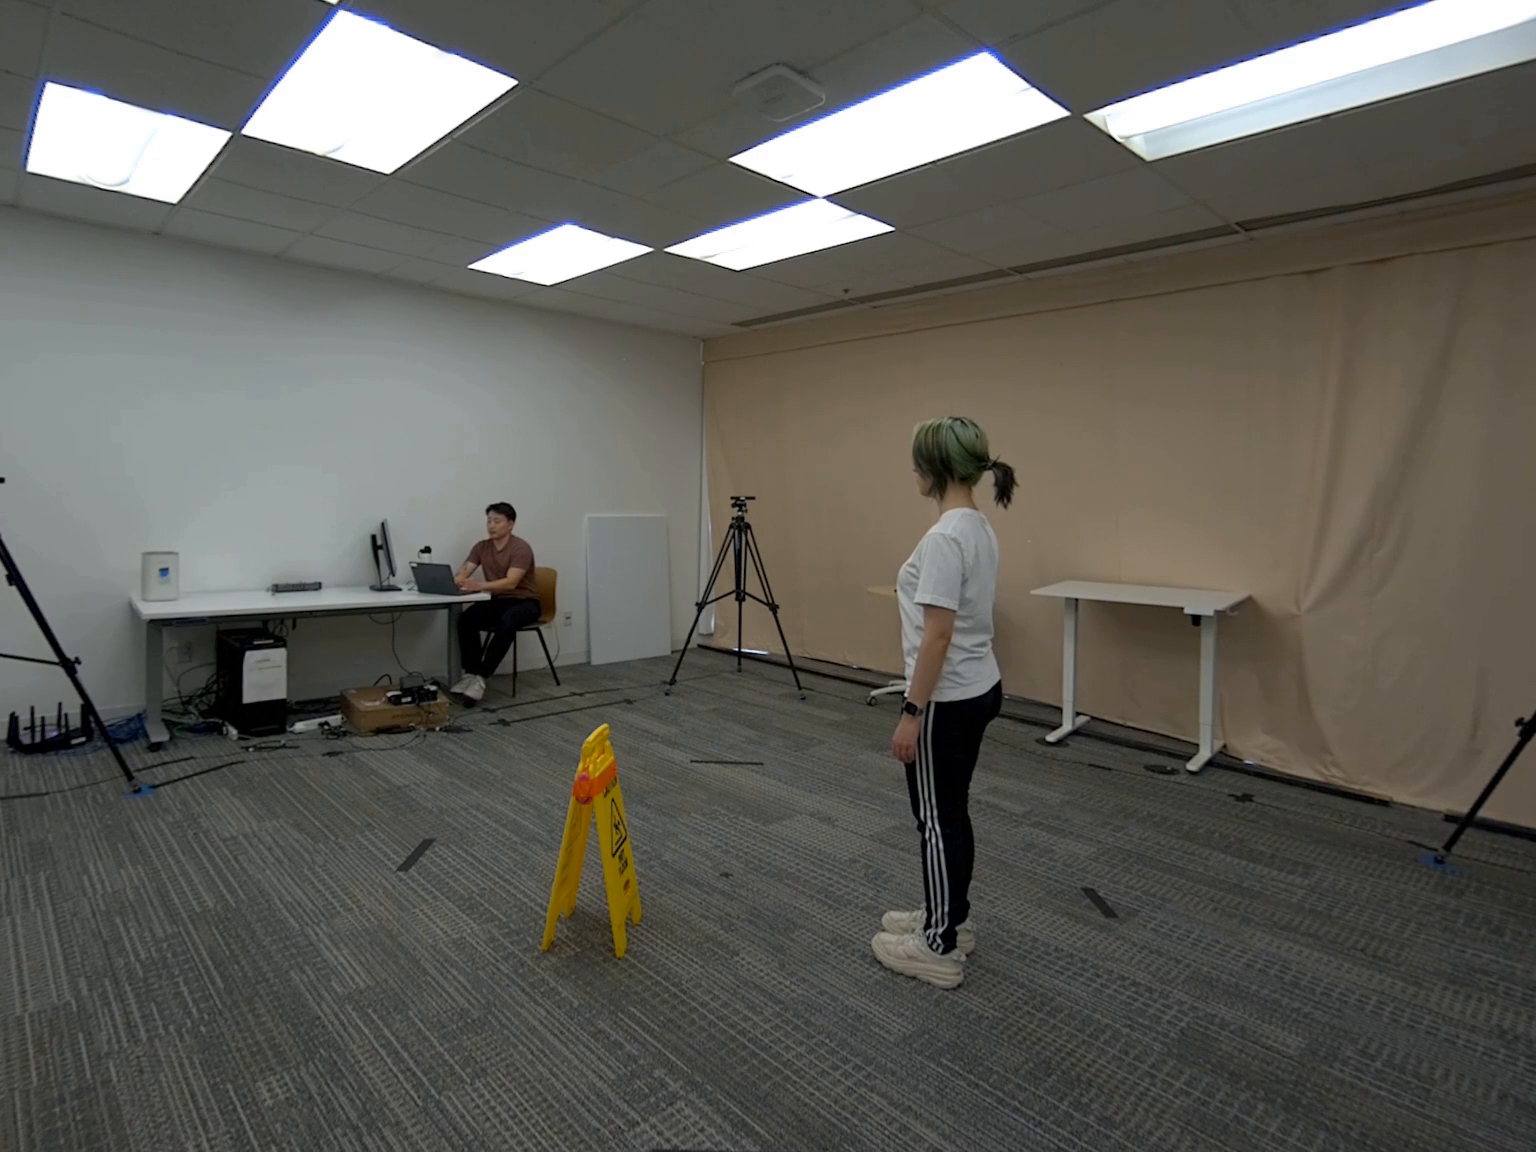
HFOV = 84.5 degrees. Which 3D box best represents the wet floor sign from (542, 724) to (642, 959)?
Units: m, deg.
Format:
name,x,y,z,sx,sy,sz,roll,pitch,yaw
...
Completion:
name,x,y,z,sx,sy,sz,roll,pitch,yaw
wet floor sign,-0.550,0.813,2.642,0.291,0.643,0.282,1,5,6
